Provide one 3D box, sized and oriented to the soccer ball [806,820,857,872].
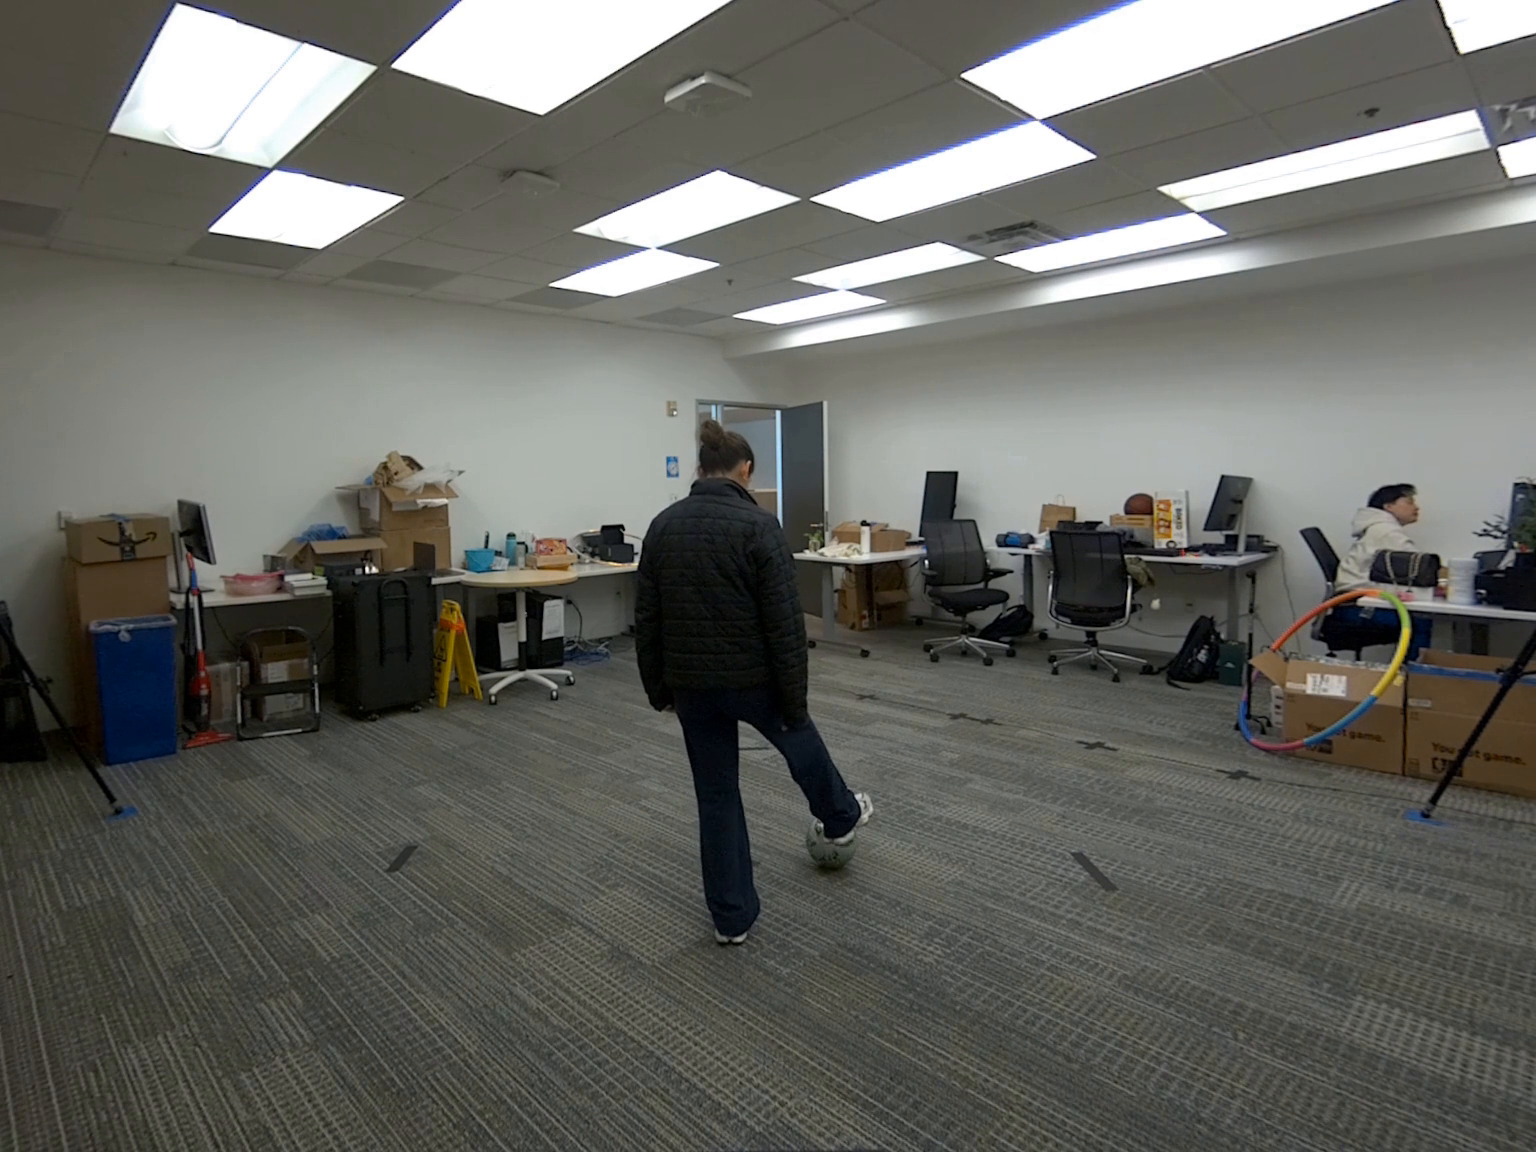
[{"bbox_3d":[0.219,0.942,3.068,0.187,0.187,0.188,-1,5,-2],"label":"soccer ball"}]
